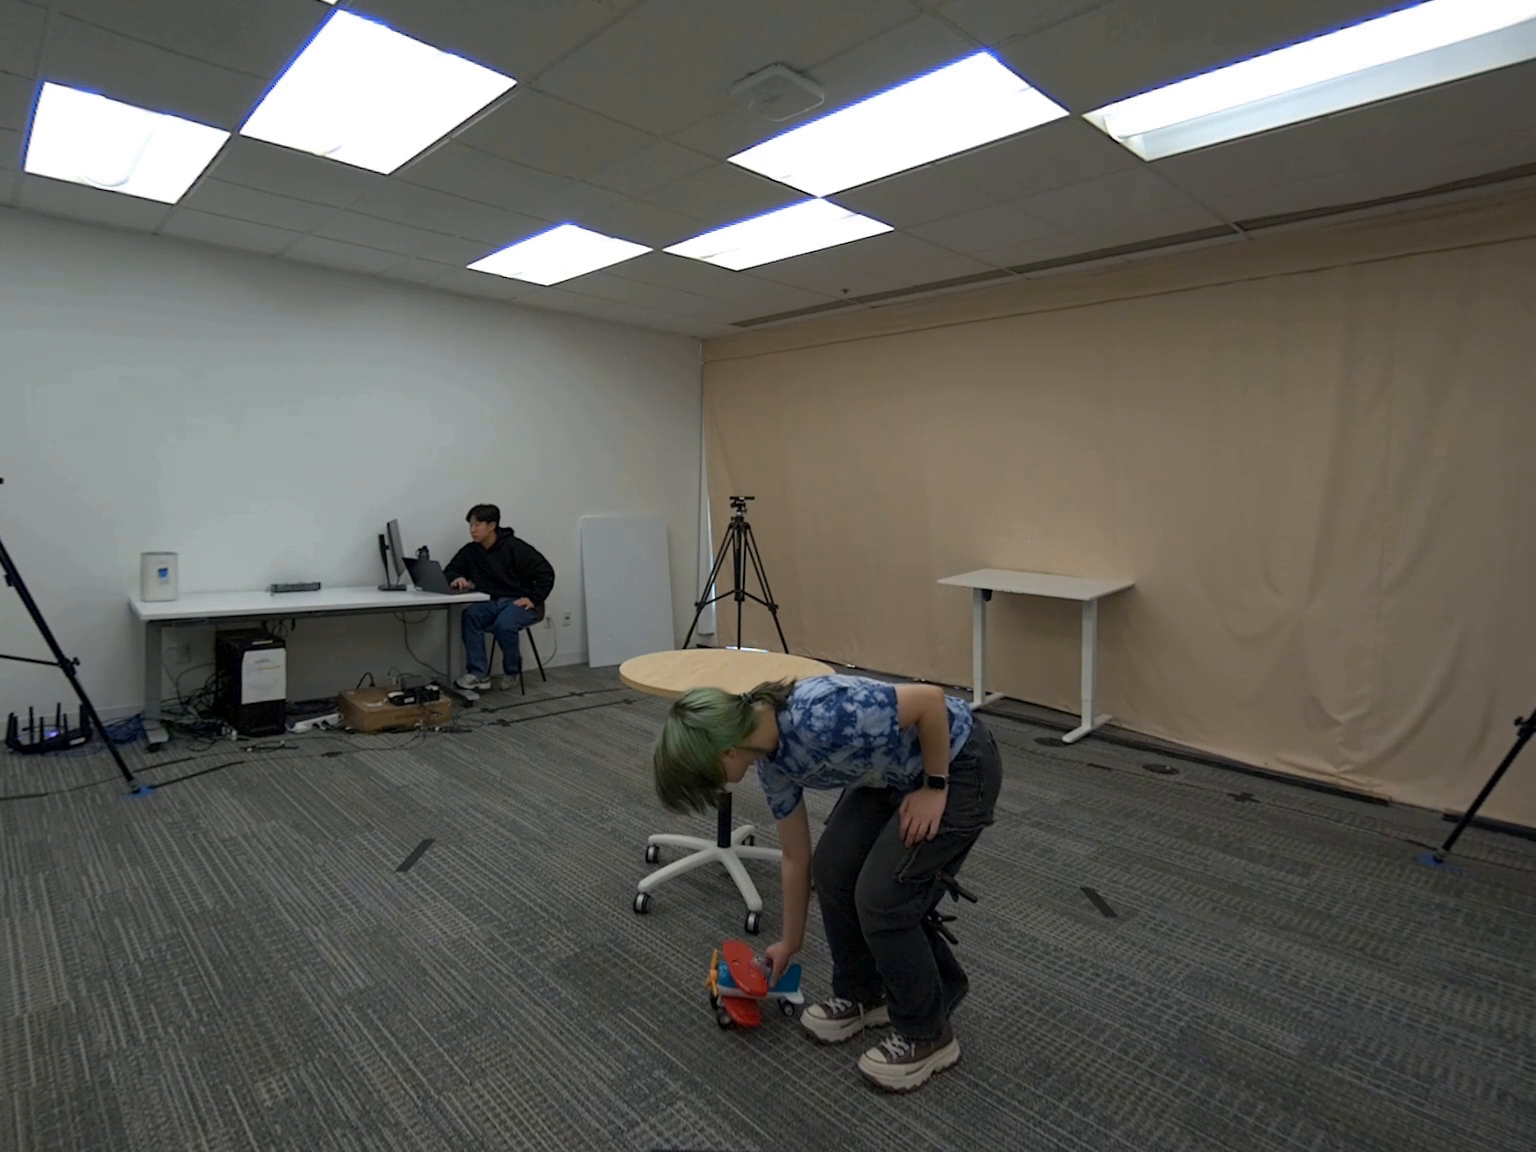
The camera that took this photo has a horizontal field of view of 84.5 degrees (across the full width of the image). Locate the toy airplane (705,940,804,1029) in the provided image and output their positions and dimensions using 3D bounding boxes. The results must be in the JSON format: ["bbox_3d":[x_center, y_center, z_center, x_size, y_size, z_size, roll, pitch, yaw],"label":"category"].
[{"bbox_3d":[-0.048,1.113,2.274,0.253,0.156,0.257,-5,8,-43],"label":"toy airplane"}]
